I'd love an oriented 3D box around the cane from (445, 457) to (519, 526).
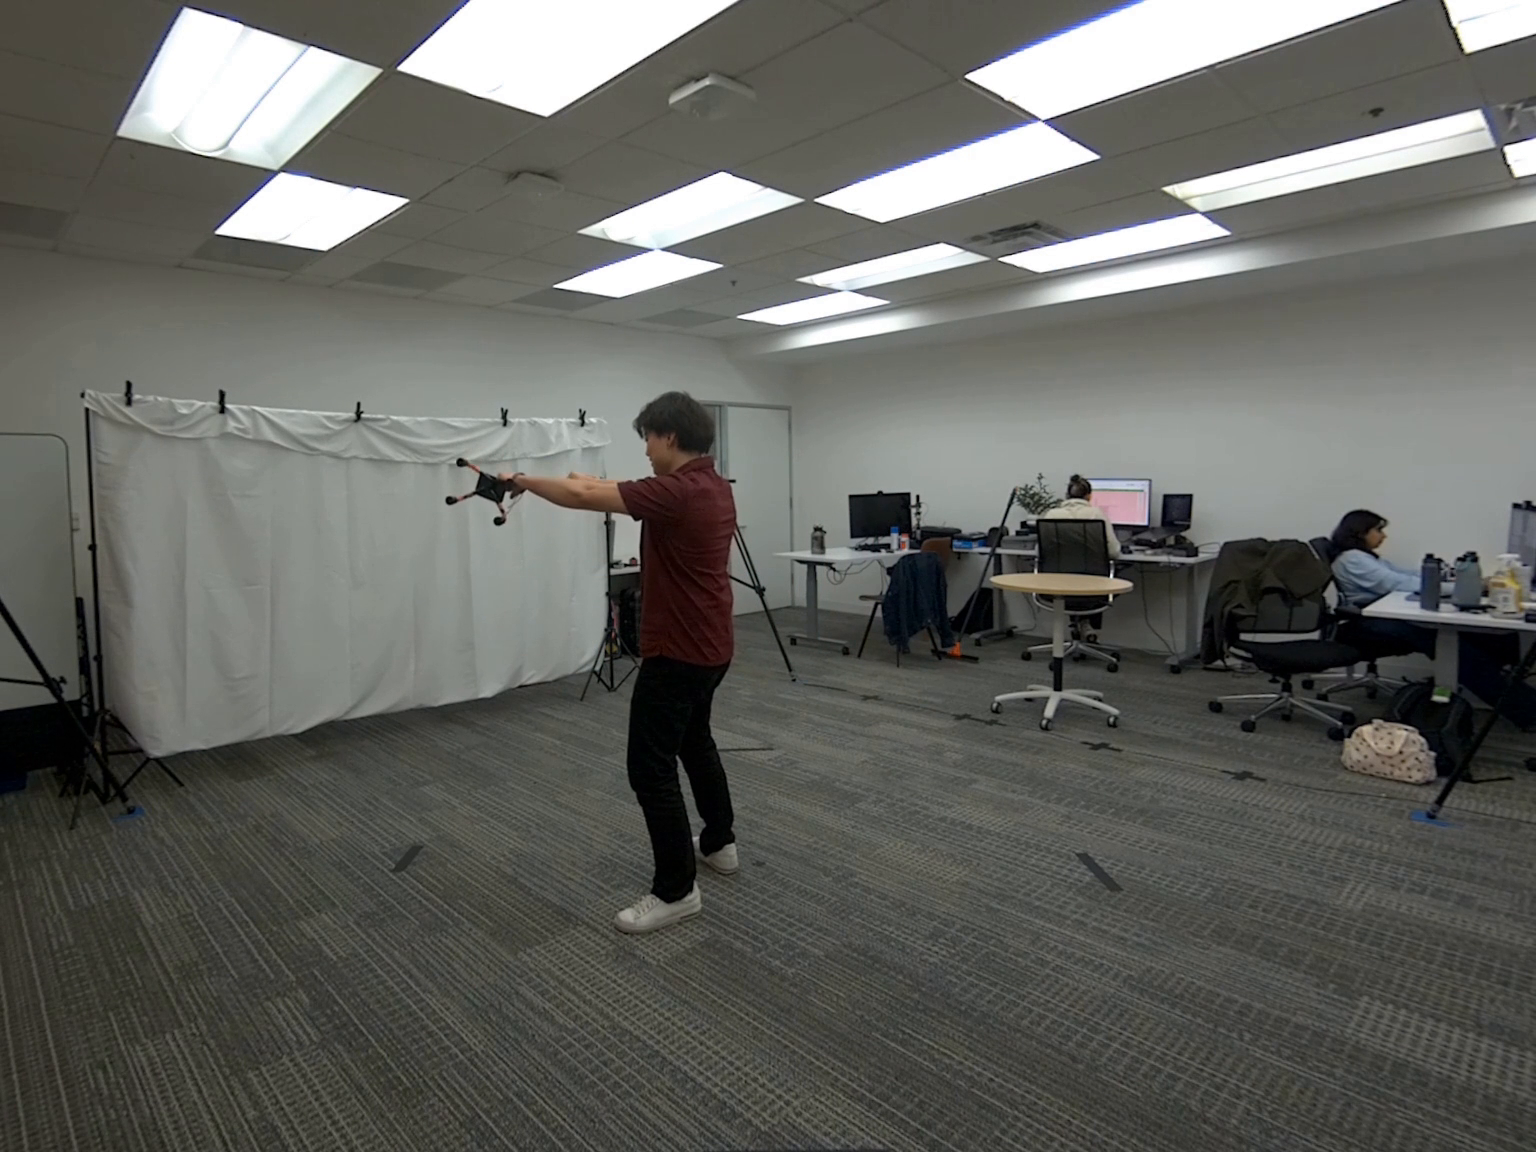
[{"bbox_3d":[-0.783,-0.304,3.018,0.209,0.151,0.901,21,11,9],"label":"cane"}]
